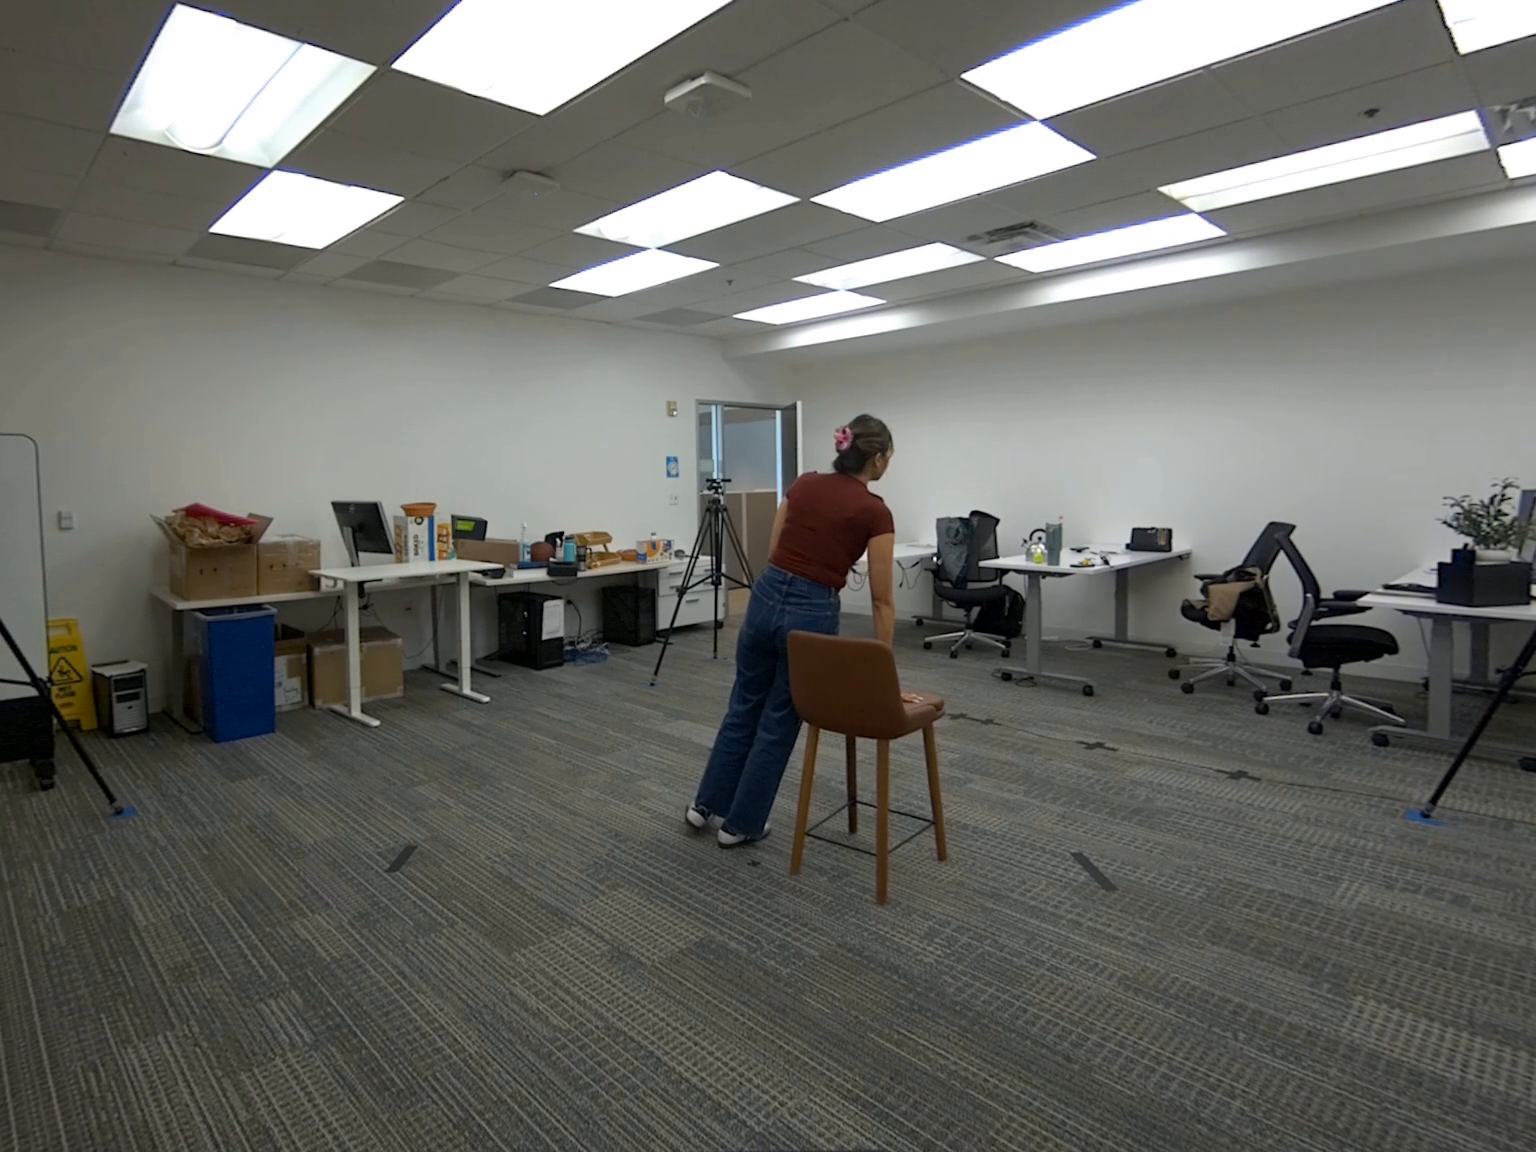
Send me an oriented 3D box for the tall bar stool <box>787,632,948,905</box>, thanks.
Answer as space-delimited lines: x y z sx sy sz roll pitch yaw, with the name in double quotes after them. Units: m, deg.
0.361 0.615 3.035 0.470 0.885 0.456 3 7 39 "tall bar stool"
